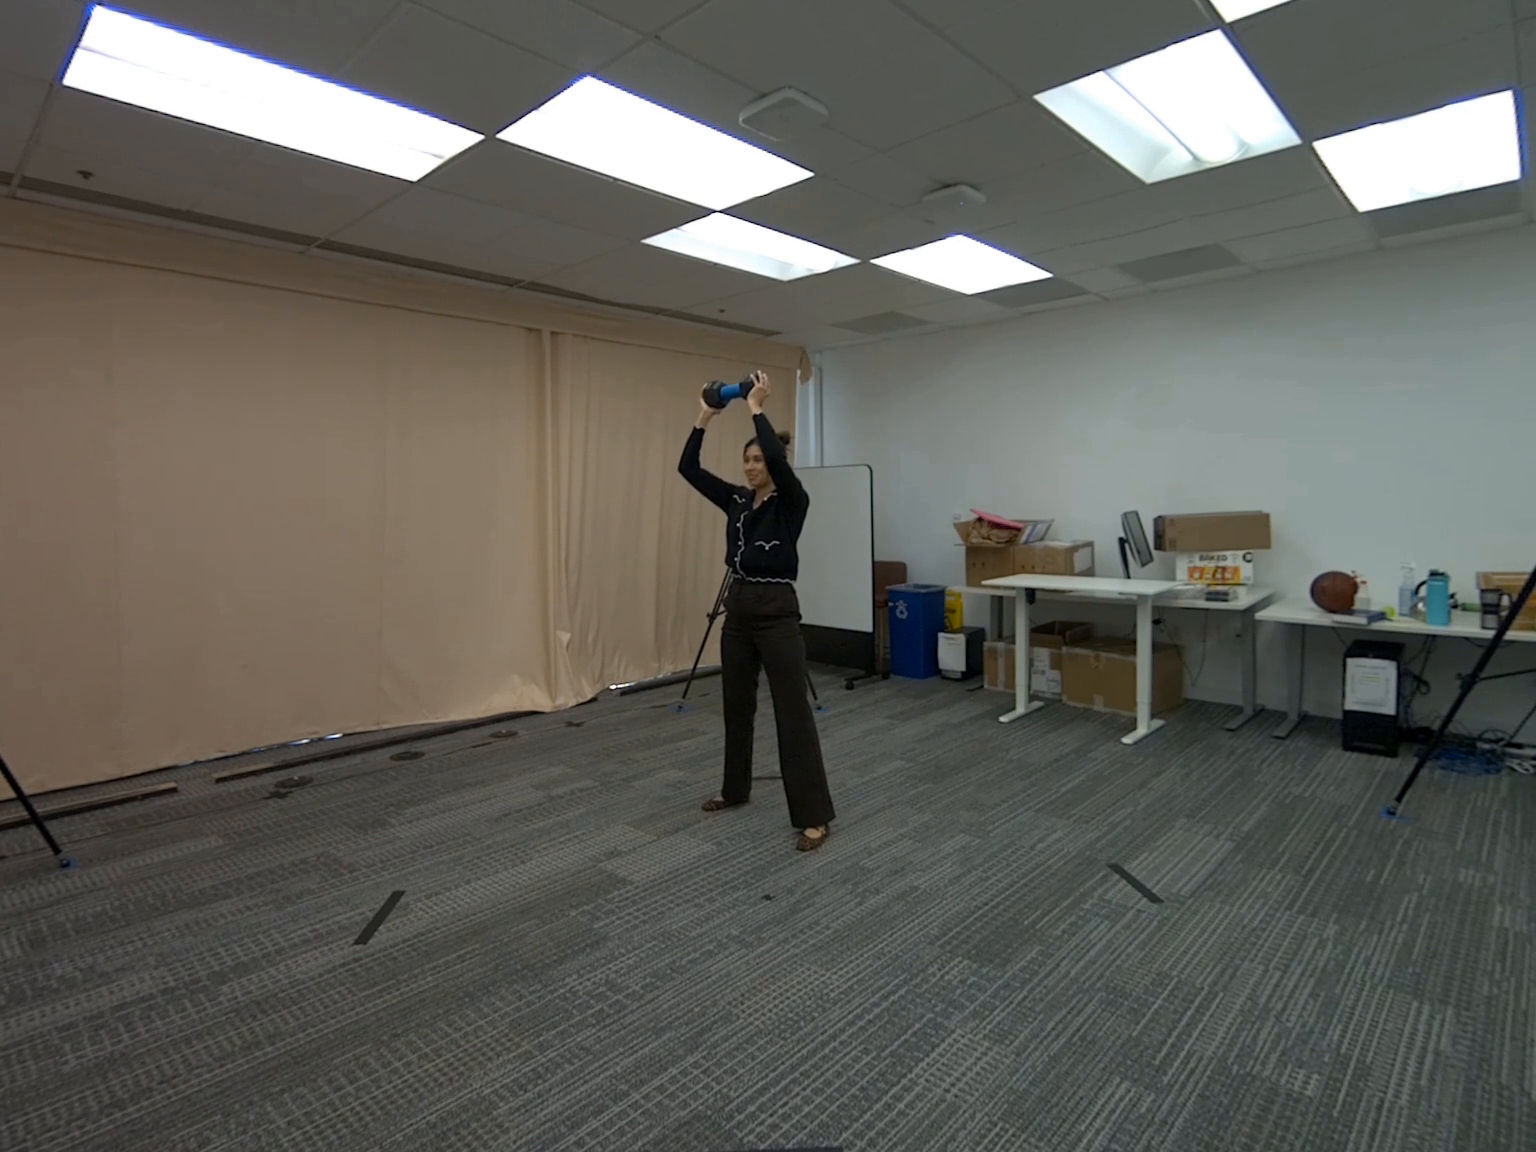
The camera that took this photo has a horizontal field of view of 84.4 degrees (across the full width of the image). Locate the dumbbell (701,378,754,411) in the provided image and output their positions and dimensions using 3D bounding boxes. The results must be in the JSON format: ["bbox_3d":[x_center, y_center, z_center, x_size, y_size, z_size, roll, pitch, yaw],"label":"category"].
[{"bbox_3d":[-0.137,-0.776,3.572,0.303,0.106,0.122,1,43,42],"label":"dumbbell"}]
